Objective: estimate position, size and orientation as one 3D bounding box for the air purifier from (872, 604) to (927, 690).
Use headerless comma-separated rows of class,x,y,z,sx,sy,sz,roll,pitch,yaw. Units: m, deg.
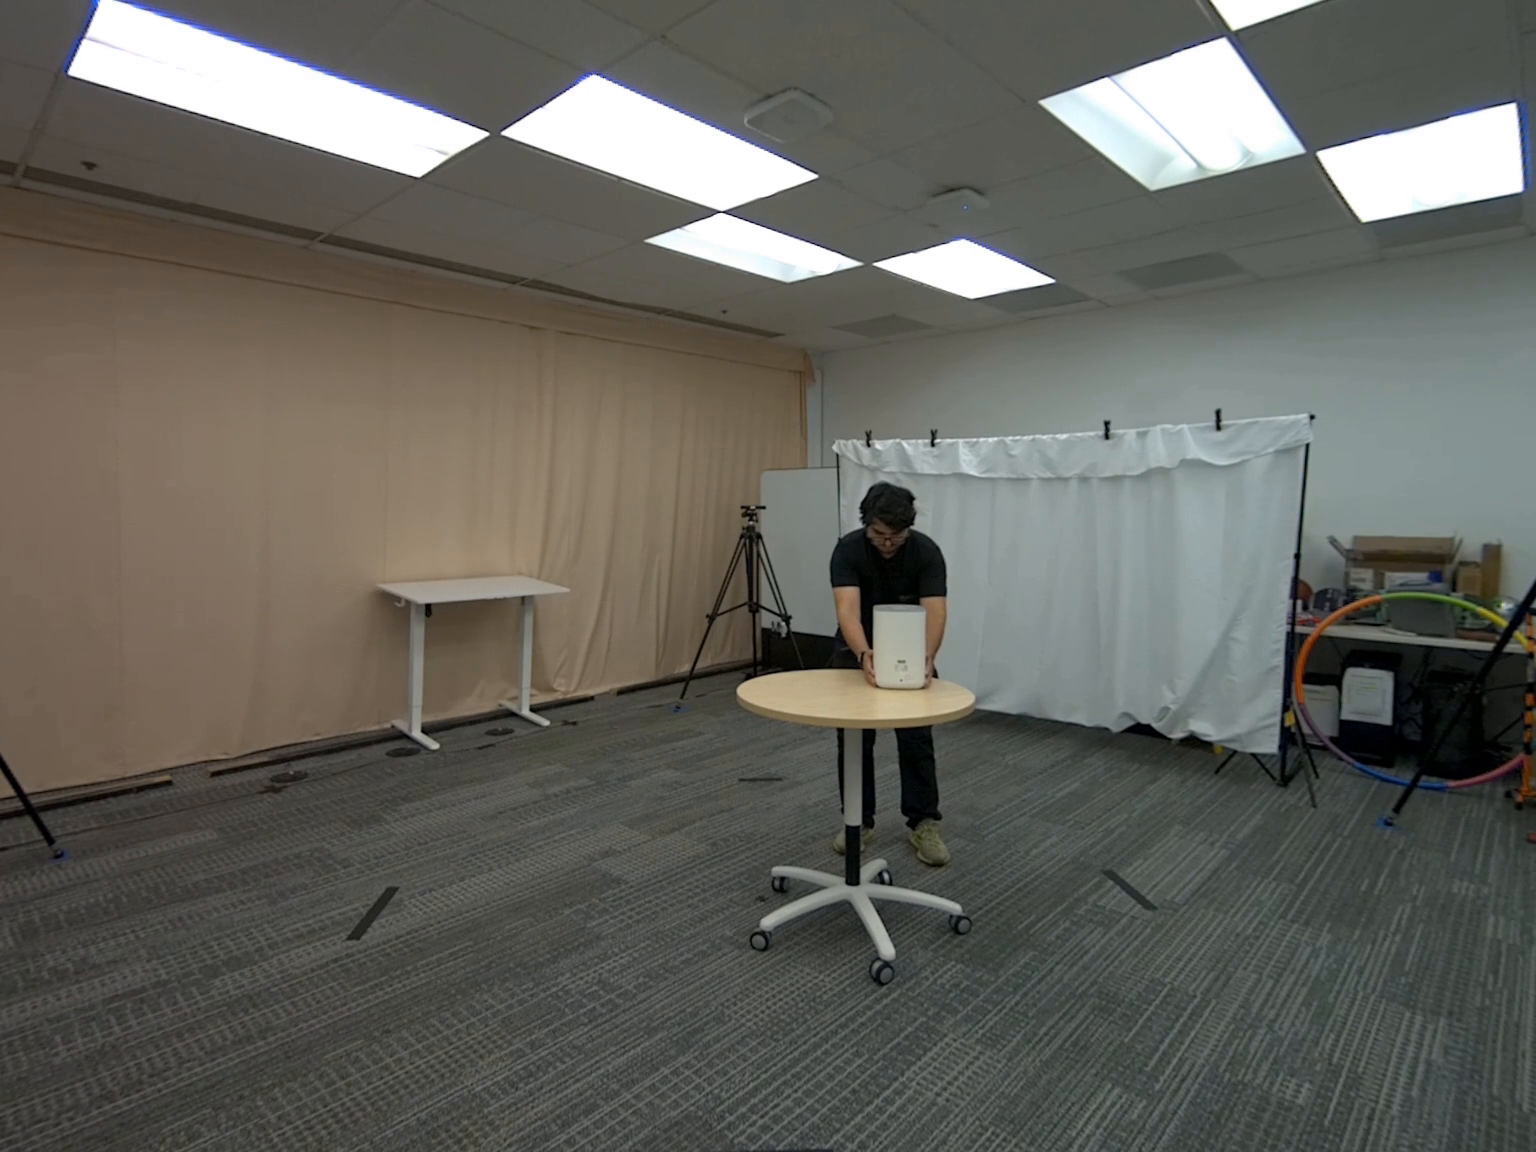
air purifier,0.444,0.235,2.848,0.172,0.265,0.171,1,3,4
